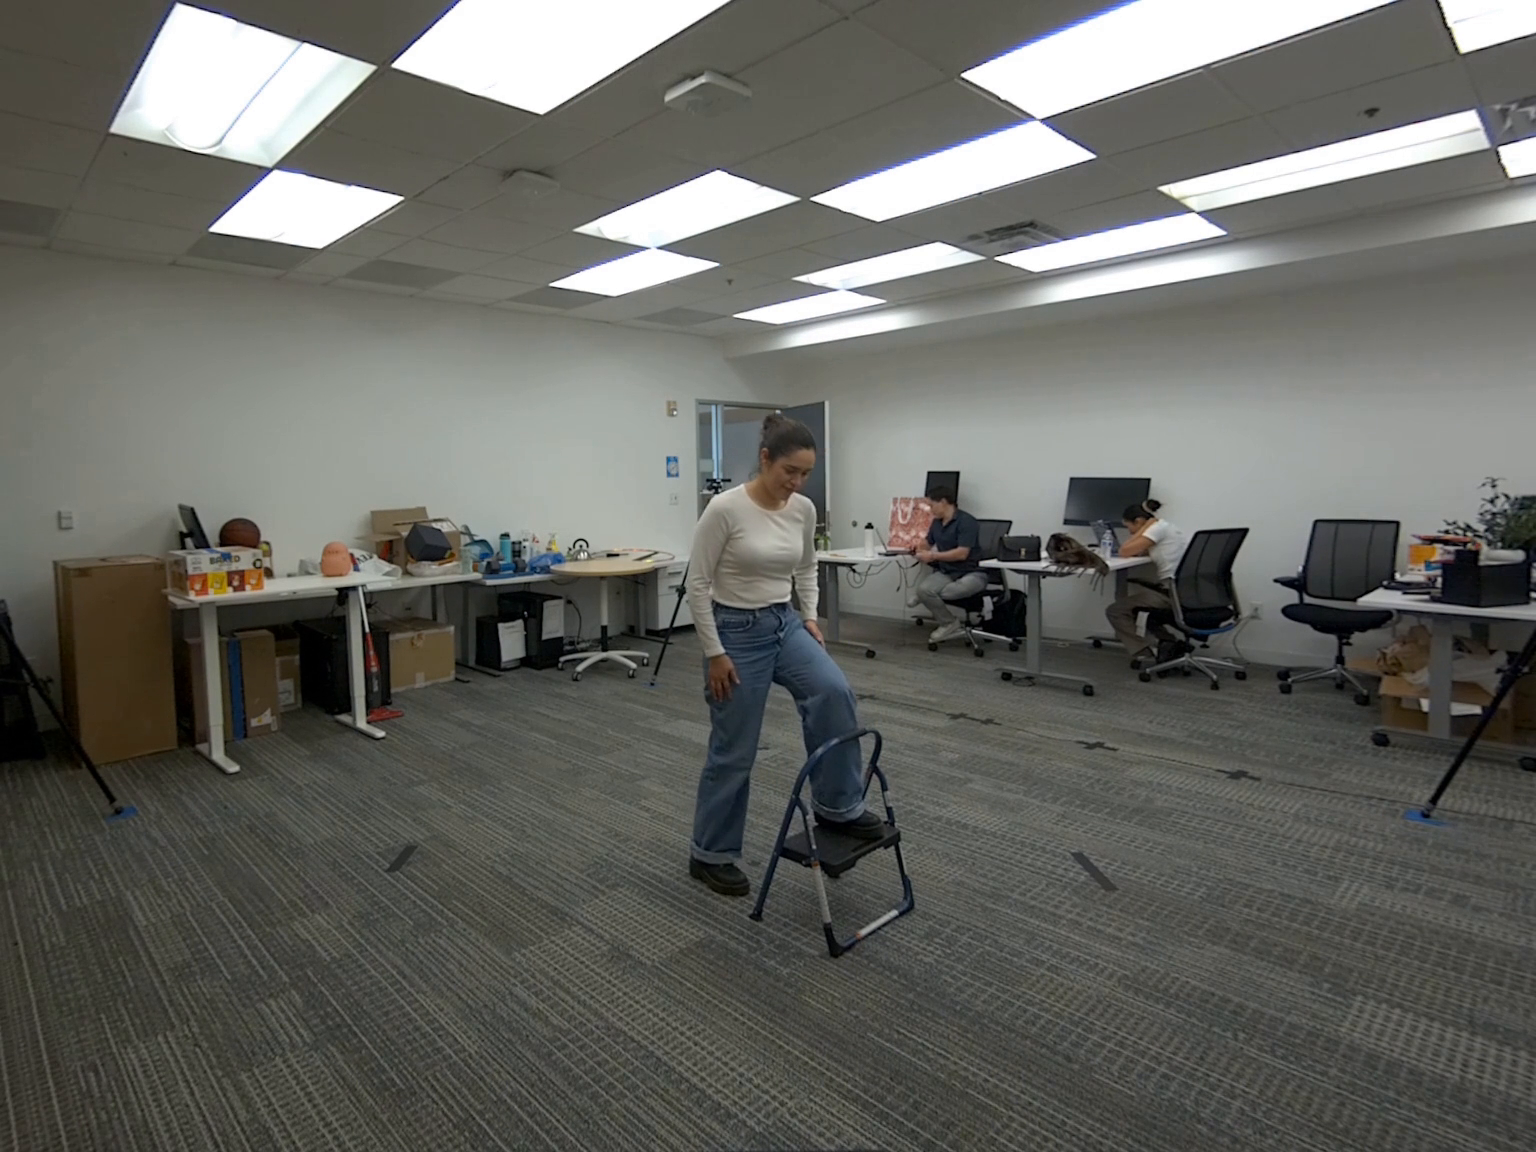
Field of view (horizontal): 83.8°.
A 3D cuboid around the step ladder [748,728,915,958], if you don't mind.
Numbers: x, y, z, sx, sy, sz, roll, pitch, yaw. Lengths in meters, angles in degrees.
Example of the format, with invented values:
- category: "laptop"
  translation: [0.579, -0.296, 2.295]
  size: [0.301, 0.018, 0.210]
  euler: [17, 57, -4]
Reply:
- category: "step ladder"
  translation: [0.207, 0.781, 2.724]
  size: [0.360, 0.604, 0.419]
  euler: [3, 6, 44]
